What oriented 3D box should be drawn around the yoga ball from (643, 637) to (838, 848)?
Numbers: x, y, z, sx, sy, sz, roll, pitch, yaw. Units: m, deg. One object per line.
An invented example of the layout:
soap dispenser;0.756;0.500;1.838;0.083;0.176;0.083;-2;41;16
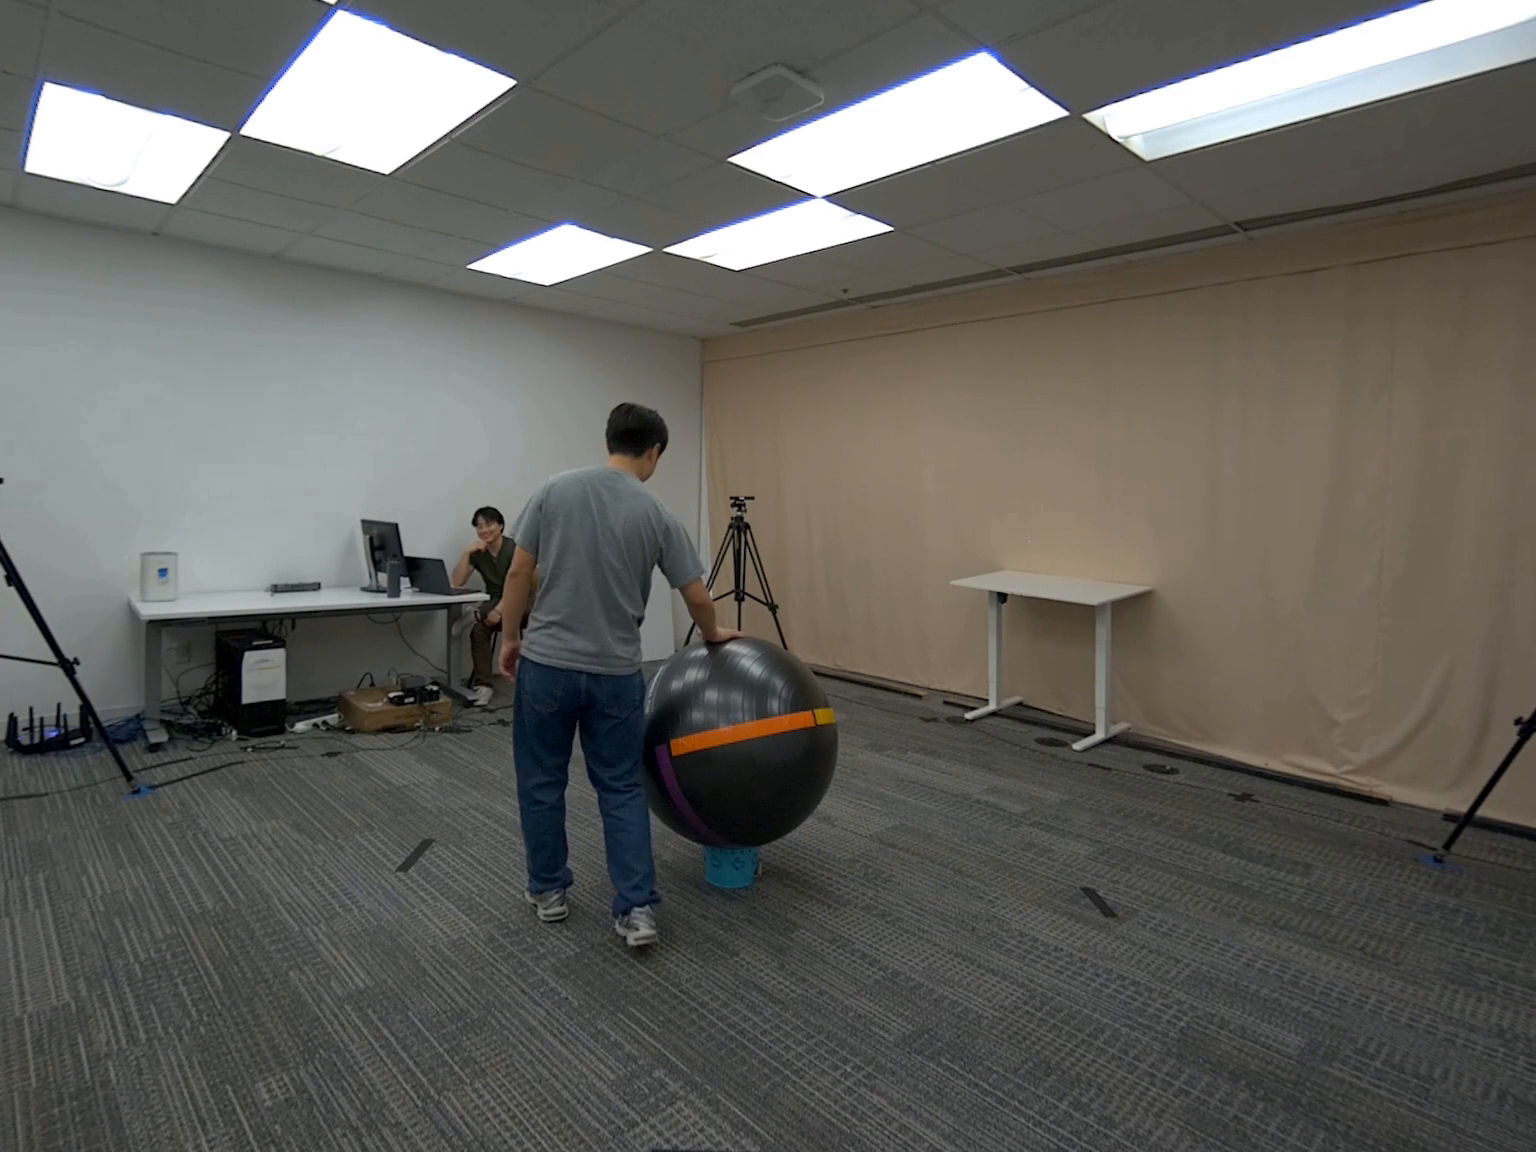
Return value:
yoga ball;-0.130;0.597;3.065;0.757;0.756;0.761;1;4;-1
